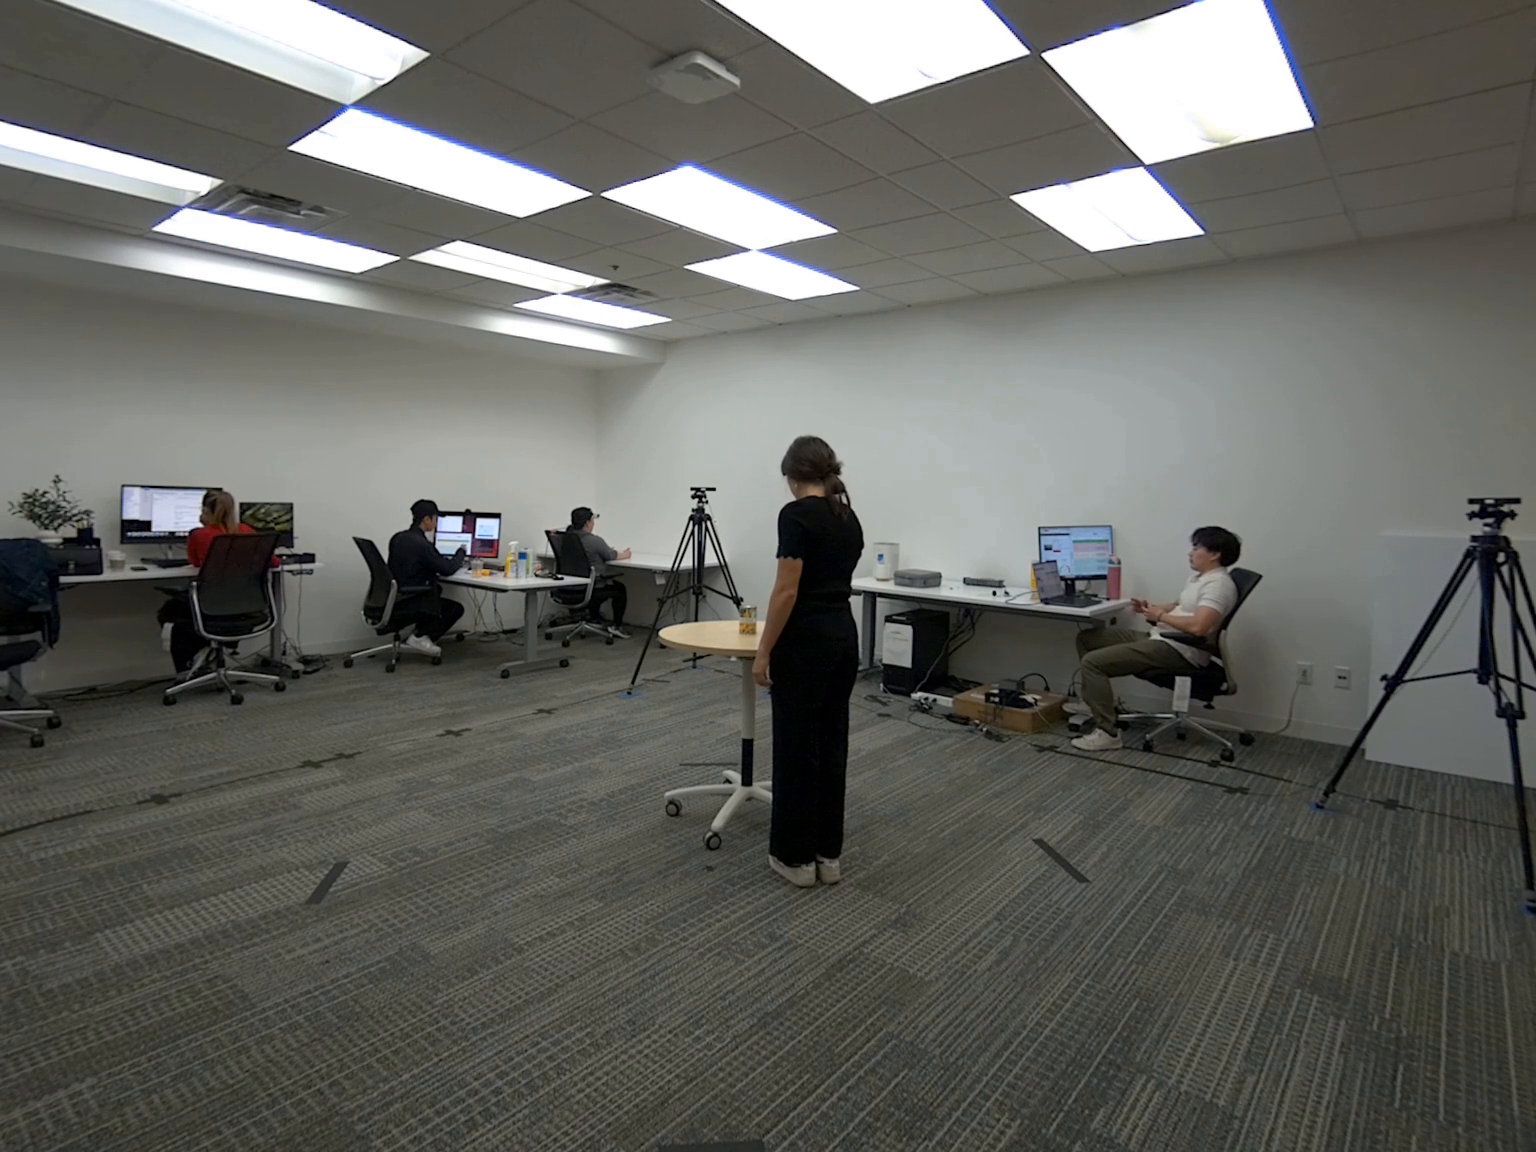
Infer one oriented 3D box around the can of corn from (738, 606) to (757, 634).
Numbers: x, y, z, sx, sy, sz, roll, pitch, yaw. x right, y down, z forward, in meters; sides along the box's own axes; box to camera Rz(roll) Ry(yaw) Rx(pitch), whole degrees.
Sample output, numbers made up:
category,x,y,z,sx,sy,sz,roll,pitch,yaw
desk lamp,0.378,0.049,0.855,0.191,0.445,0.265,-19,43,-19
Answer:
category,x,y,z,sx,sy,sz,roll,pitch,yaw
can of corn,-0.098,0.183,3.586,0.074,0.111,0.074,4,2,-2
